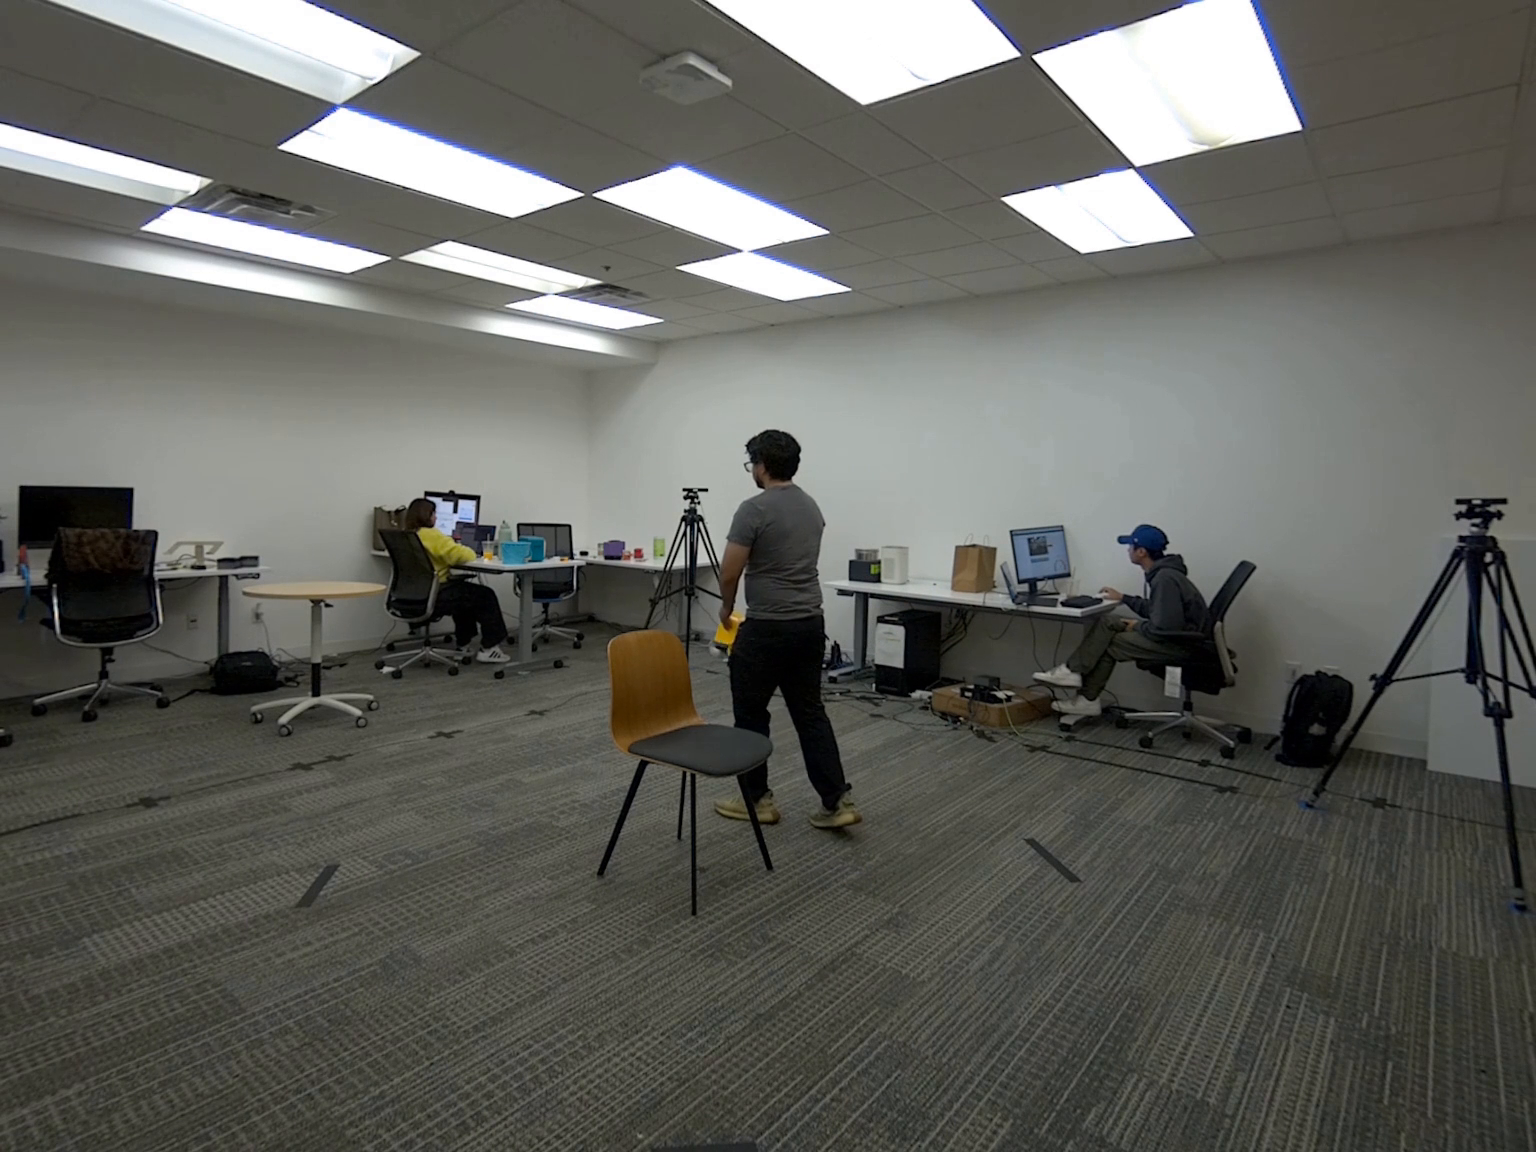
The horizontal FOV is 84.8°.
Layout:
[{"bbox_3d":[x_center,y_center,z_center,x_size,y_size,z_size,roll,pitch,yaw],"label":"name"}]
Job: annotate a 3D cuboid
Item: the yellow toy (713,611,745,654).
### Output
[{"bbox_3d":[-0.132,0.229,3.785,0.190,0.227,0.211,-24,17,-34],"label":"yellow toy"}]
